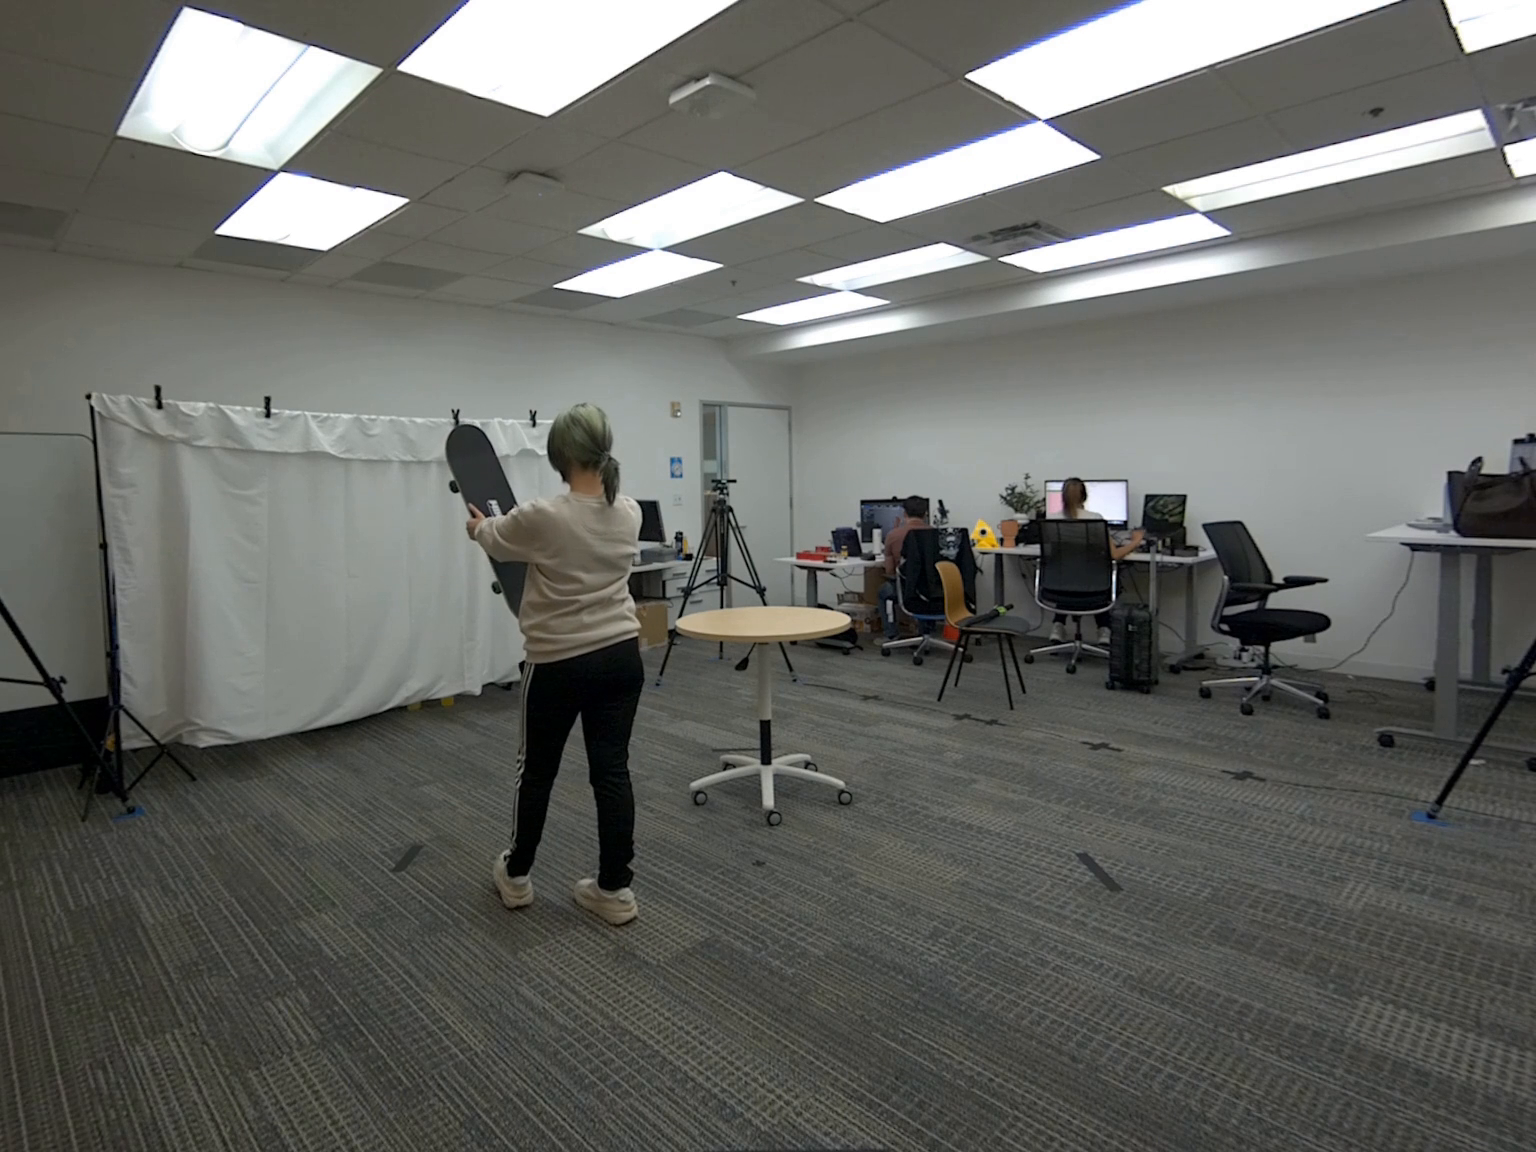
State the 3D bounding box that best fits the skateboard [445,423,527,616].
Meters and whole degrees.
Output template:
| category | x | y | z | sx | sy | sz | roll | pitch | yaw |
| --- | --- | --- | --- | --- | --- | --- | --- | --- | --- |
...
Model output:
| category | x | y | z | sx | sy | sz | roll | pitch | yaw |
| --- | --- | --- | --- | --- | --- | --- | --- | --- | --- |
| skateboard | -0.991 | -0.173 | 3.137 | 0.190 | 0.784 | 0.112 | -24 | 1 | -44 |
